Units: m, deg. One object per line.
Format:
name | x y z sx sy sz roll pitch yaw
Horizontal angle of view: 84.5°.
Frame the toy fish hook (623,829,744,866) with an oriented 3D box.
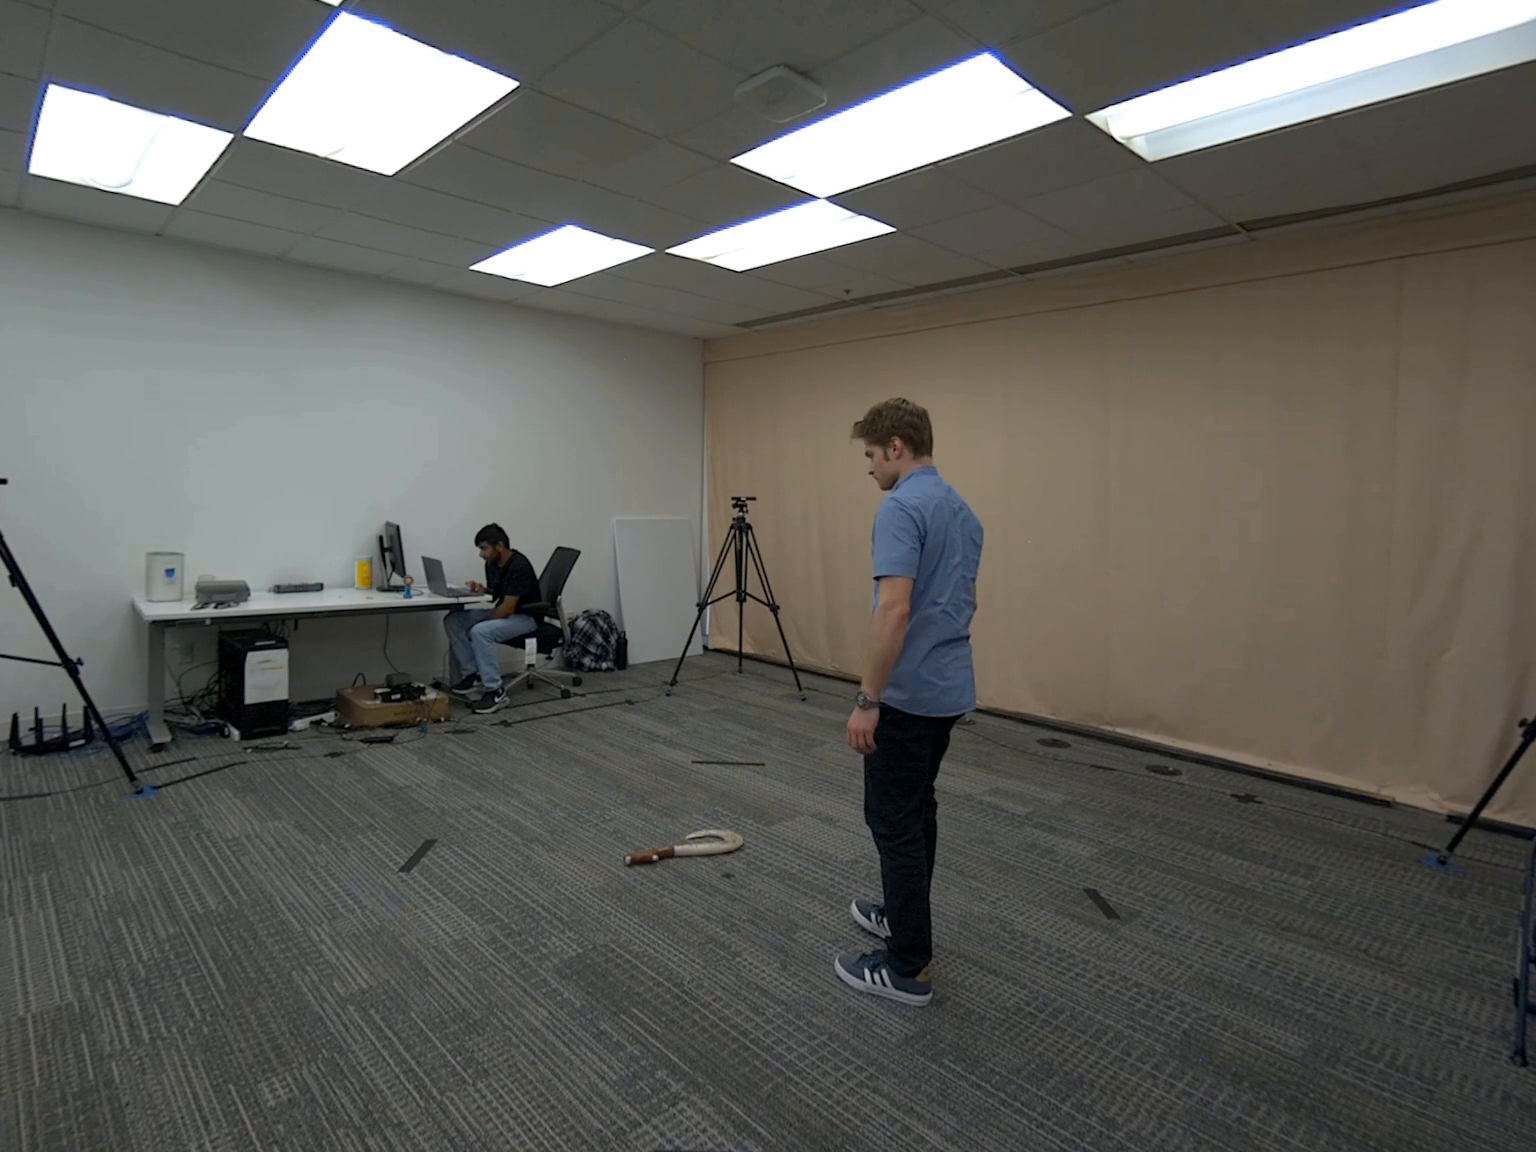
toy fish hook | -0.352 1.070 3.320 0.497 0.048 0.228 0 -3 -27
